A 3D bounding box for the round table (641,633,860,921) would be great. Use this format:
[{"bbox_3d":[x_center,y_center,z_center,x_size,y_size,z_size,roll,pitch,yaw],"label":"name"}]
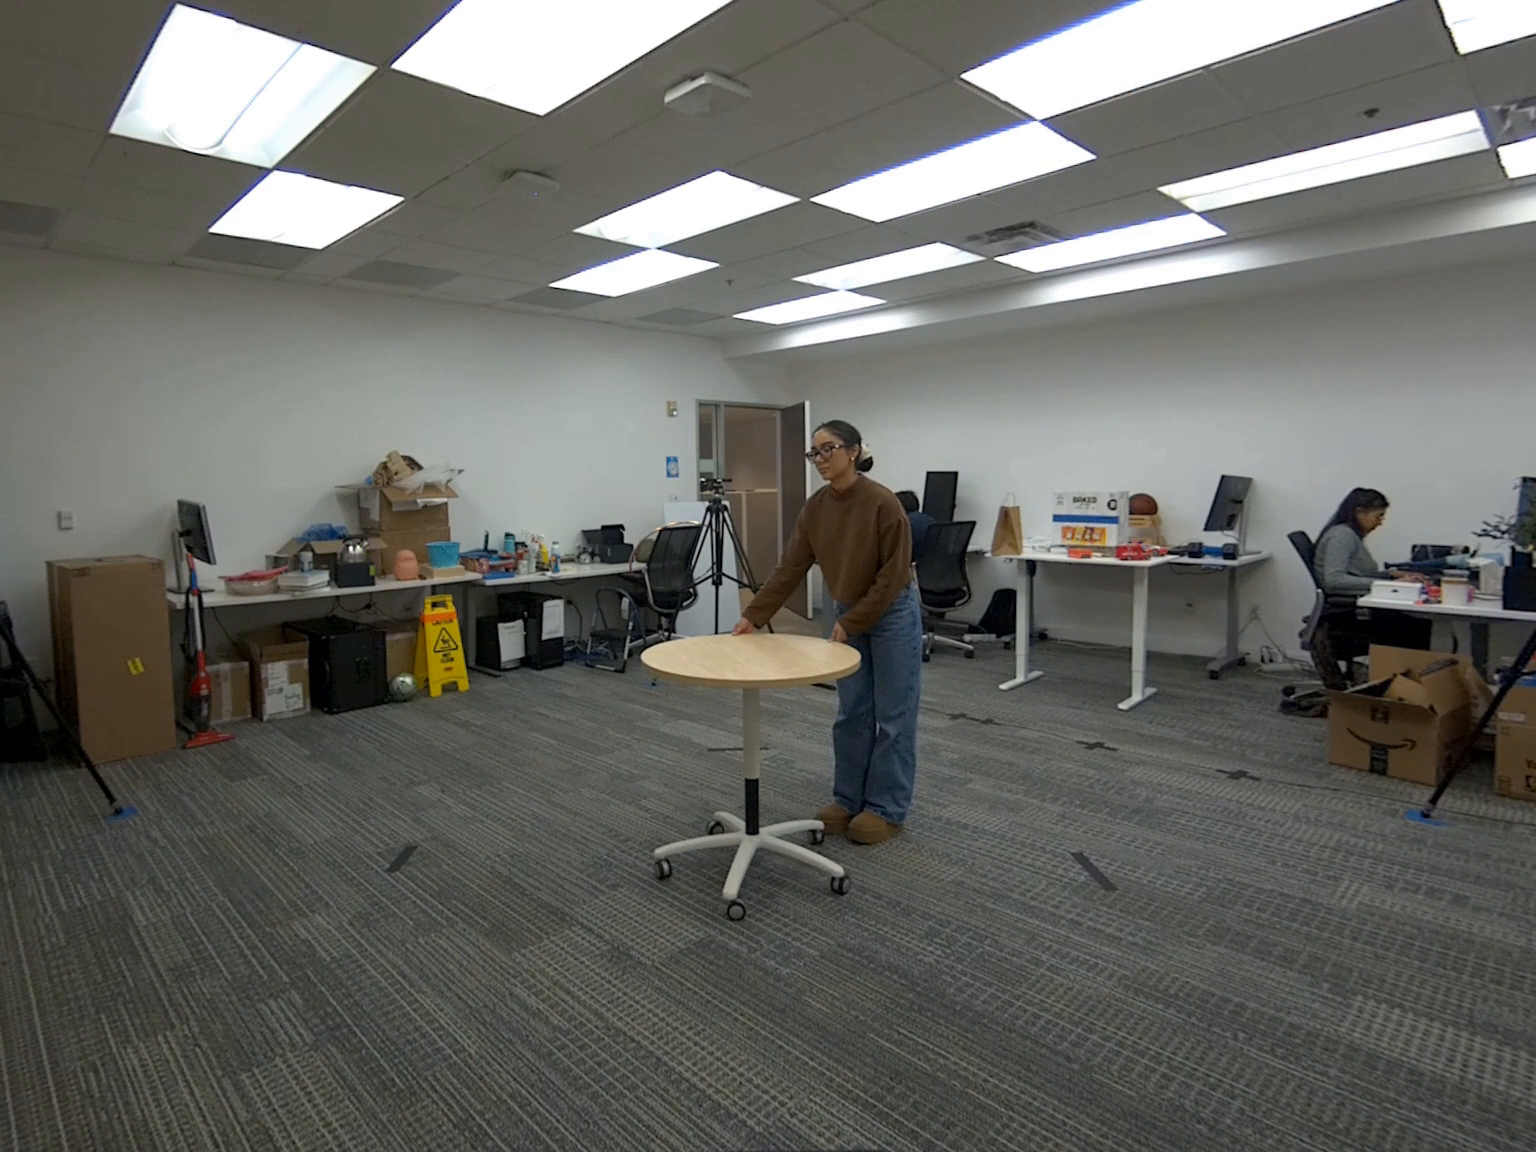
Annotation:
[{"bbox_3d":[-0.059,0.666,3.014,0.763,0.791,0.768,-1,5,-2],"label":"round table"}]
